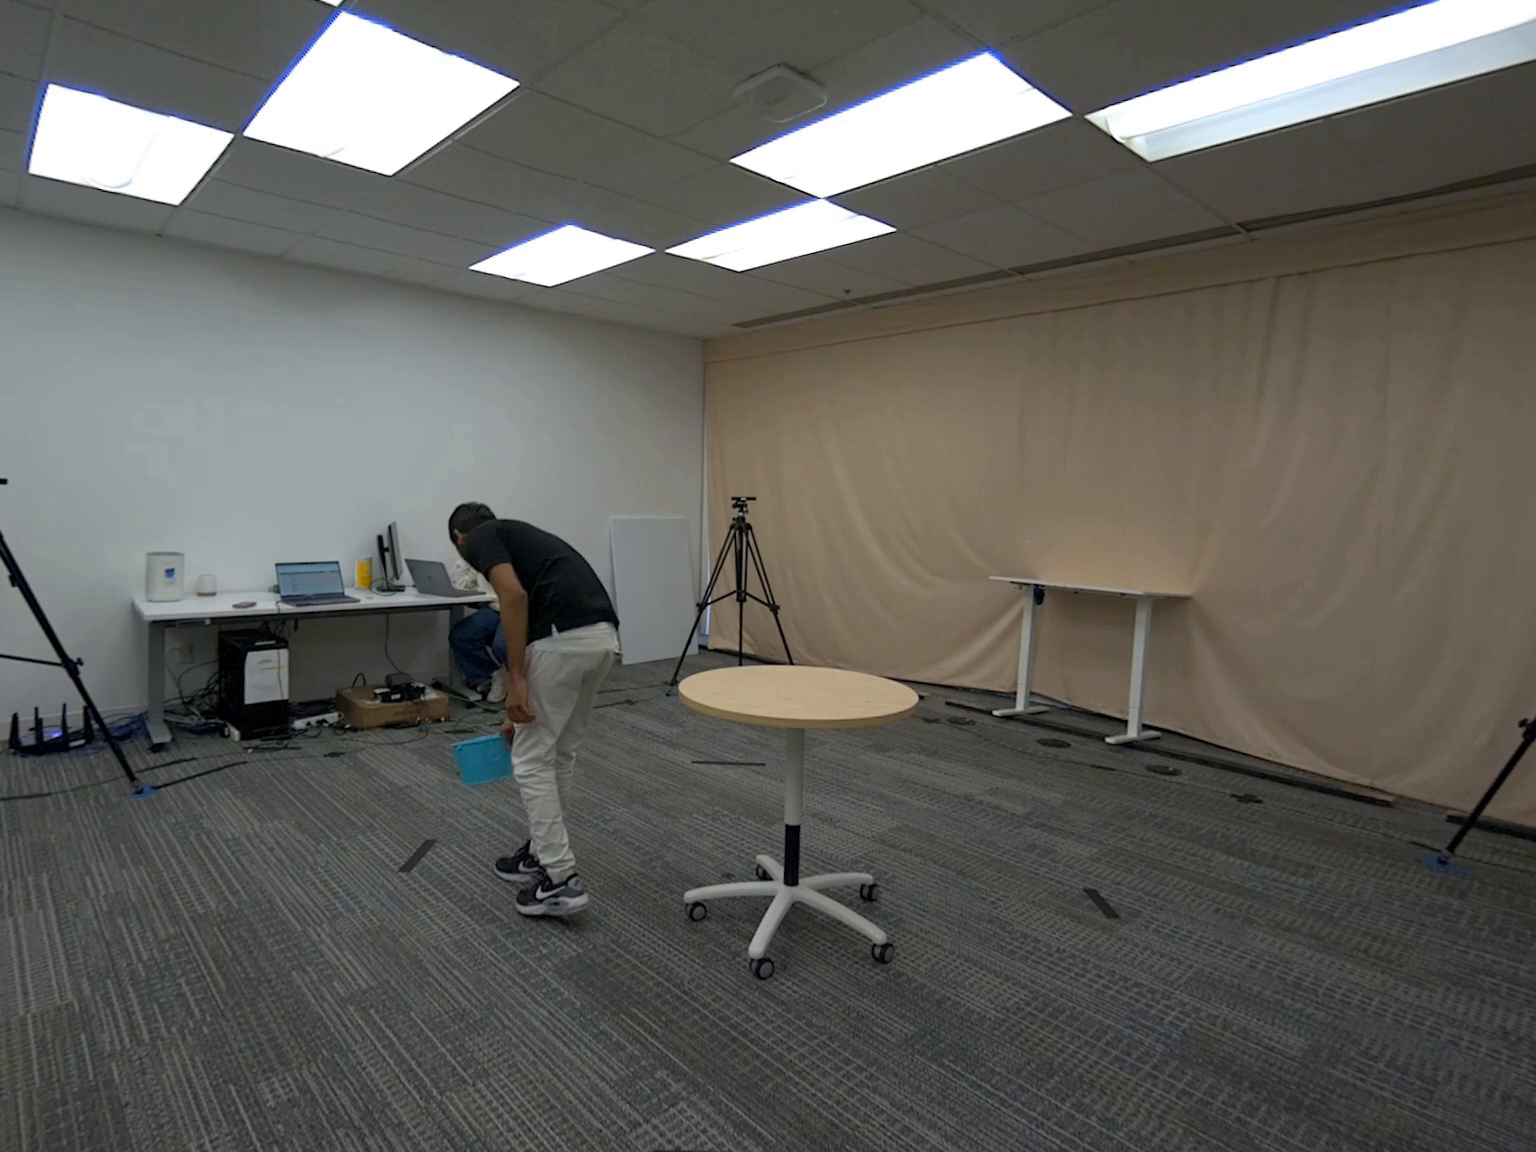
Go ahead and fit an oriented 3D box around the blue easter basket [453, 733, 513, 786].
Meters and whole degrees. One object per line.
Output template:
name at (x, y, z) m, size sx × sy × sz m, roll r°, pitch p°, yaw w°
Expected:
blue easter basket at (-1.087, 0.694, 3.178) m, size 0.243 × 0.156 × 0.243 m, roll -8°, pitch -4°, yaw -2°
